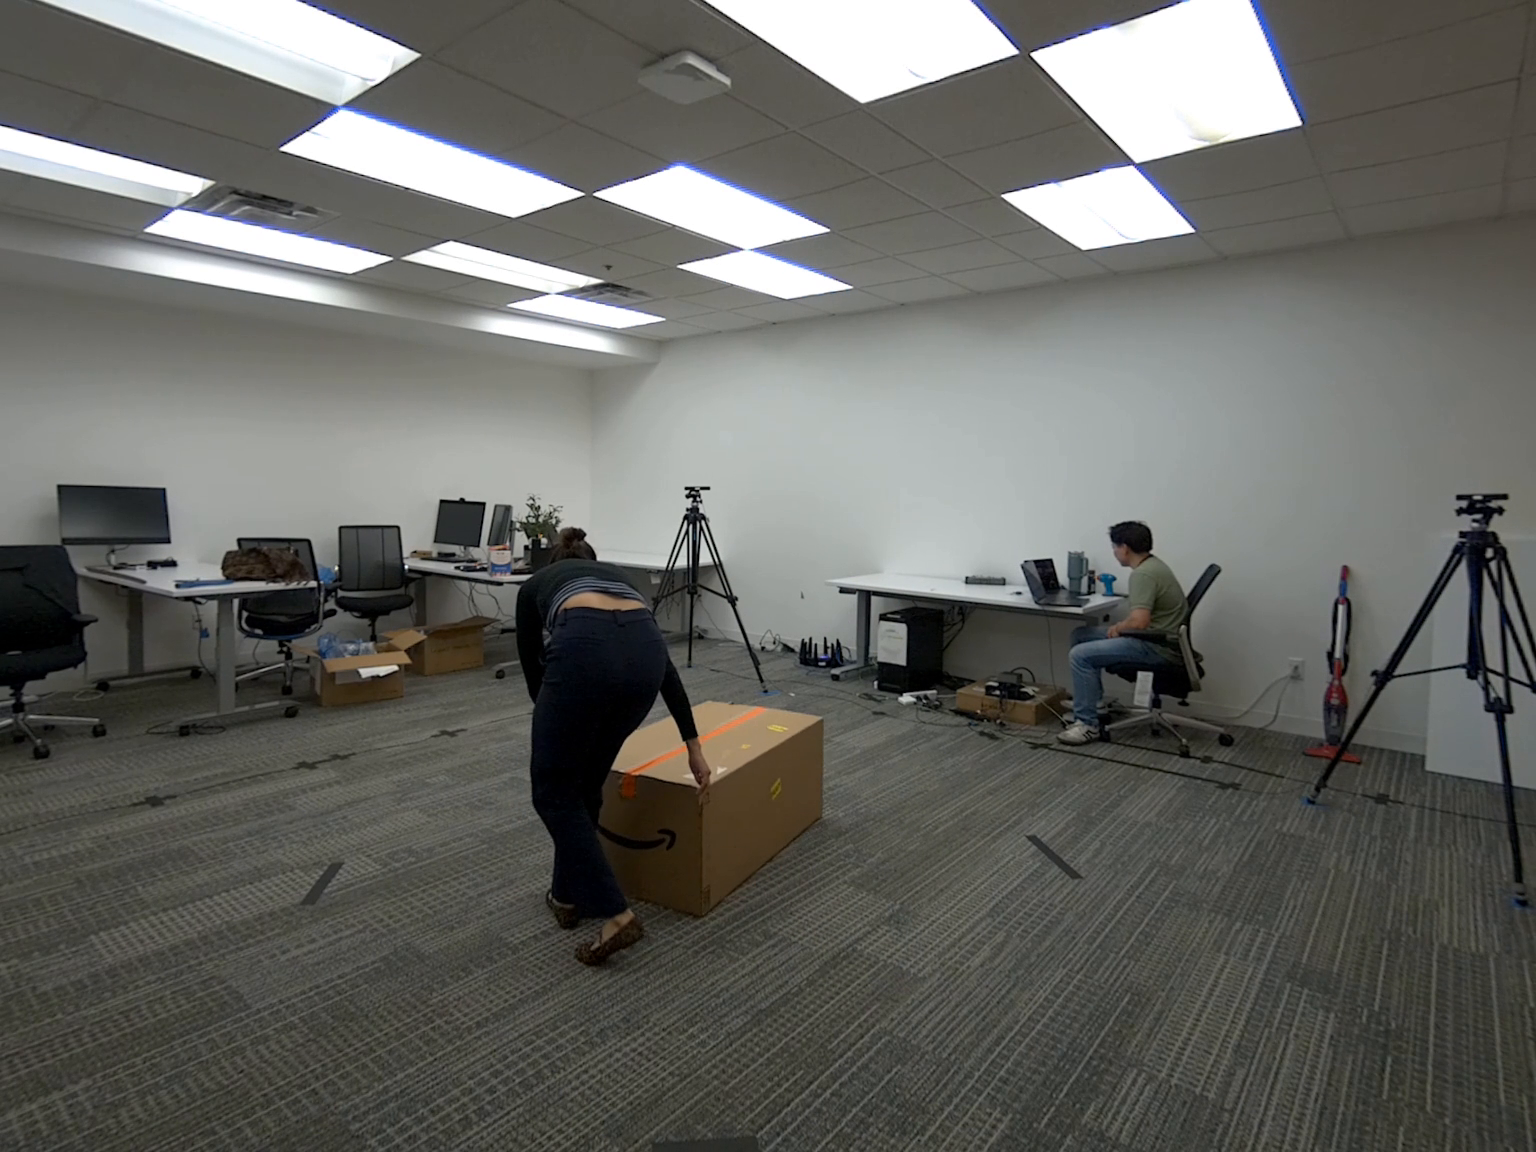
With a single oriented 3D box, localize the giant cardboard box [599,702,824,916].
[{"bbox_3d":[-0.253,0.829,3.308,0.594,0.424,1.002,3,6,27],"label":"giant cardboard box"}]
